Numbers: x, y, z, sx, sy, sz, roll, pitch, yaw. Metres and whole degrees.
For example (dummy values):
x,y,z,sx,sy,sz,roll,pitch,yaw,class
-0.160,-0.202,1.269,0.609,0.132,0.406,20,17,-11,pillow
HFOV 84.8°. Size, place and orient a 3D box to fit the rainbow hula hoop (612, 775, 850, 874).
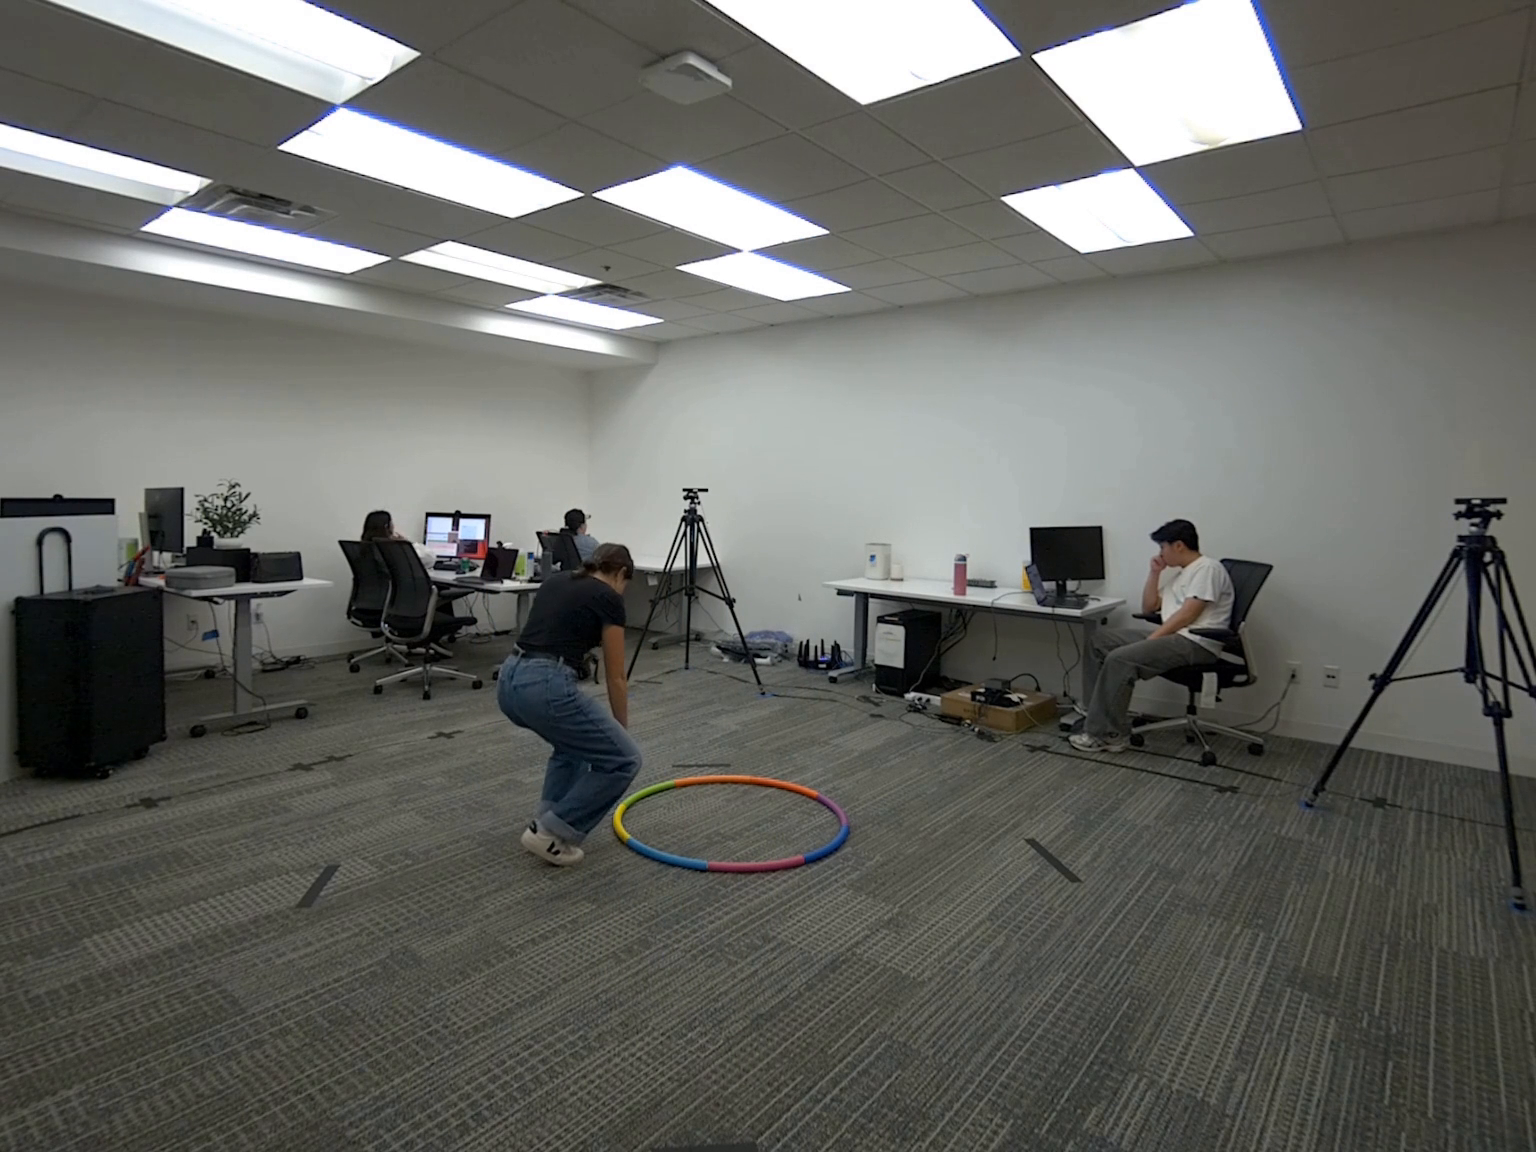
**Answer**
x,y,z,sx,sy,sz,roll,pitch,yaw,class
-0.155,0.992,3.563,0.978,0.035,0.984,1,6,-2,rainbow hula hoop
